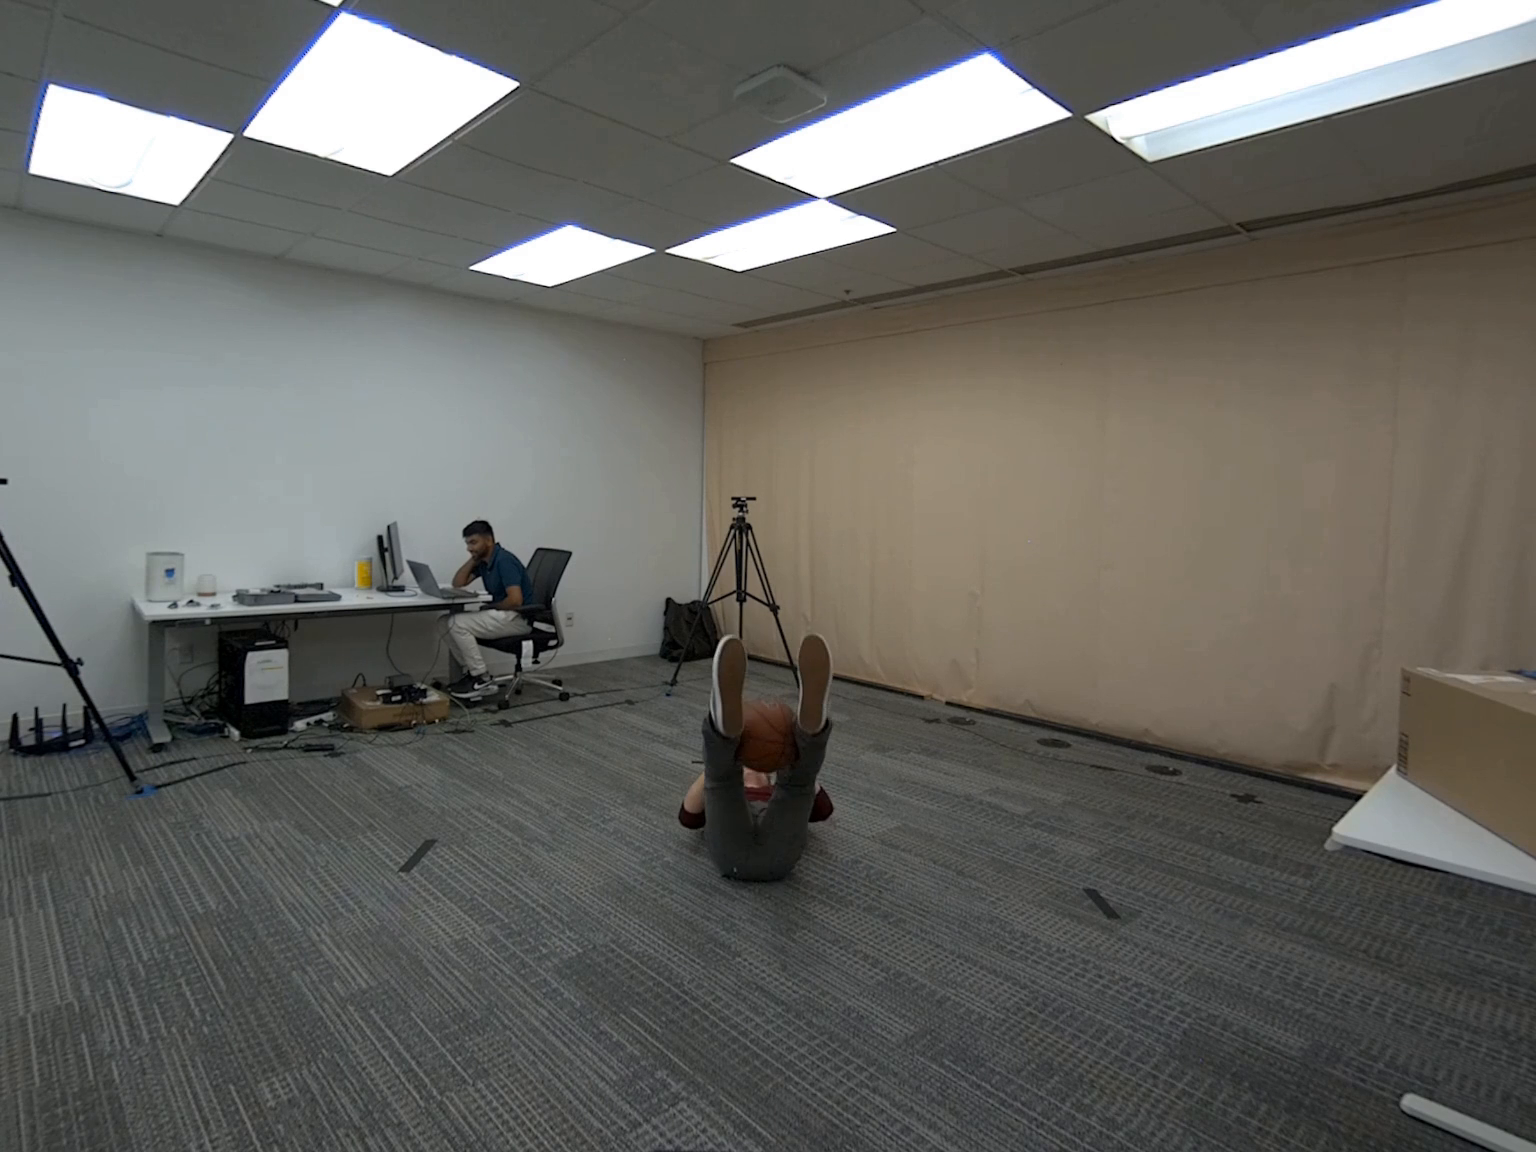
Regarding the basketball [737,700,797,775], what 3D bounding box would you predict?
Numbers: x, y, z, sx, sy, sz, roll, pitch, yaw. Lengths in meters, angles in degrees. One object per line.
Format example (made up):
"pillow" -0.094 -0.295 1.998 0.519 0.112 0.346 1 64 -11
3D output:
"basketball" -0.016 0.524 2.728 0.236 0.235 0.237 1 4 -1
